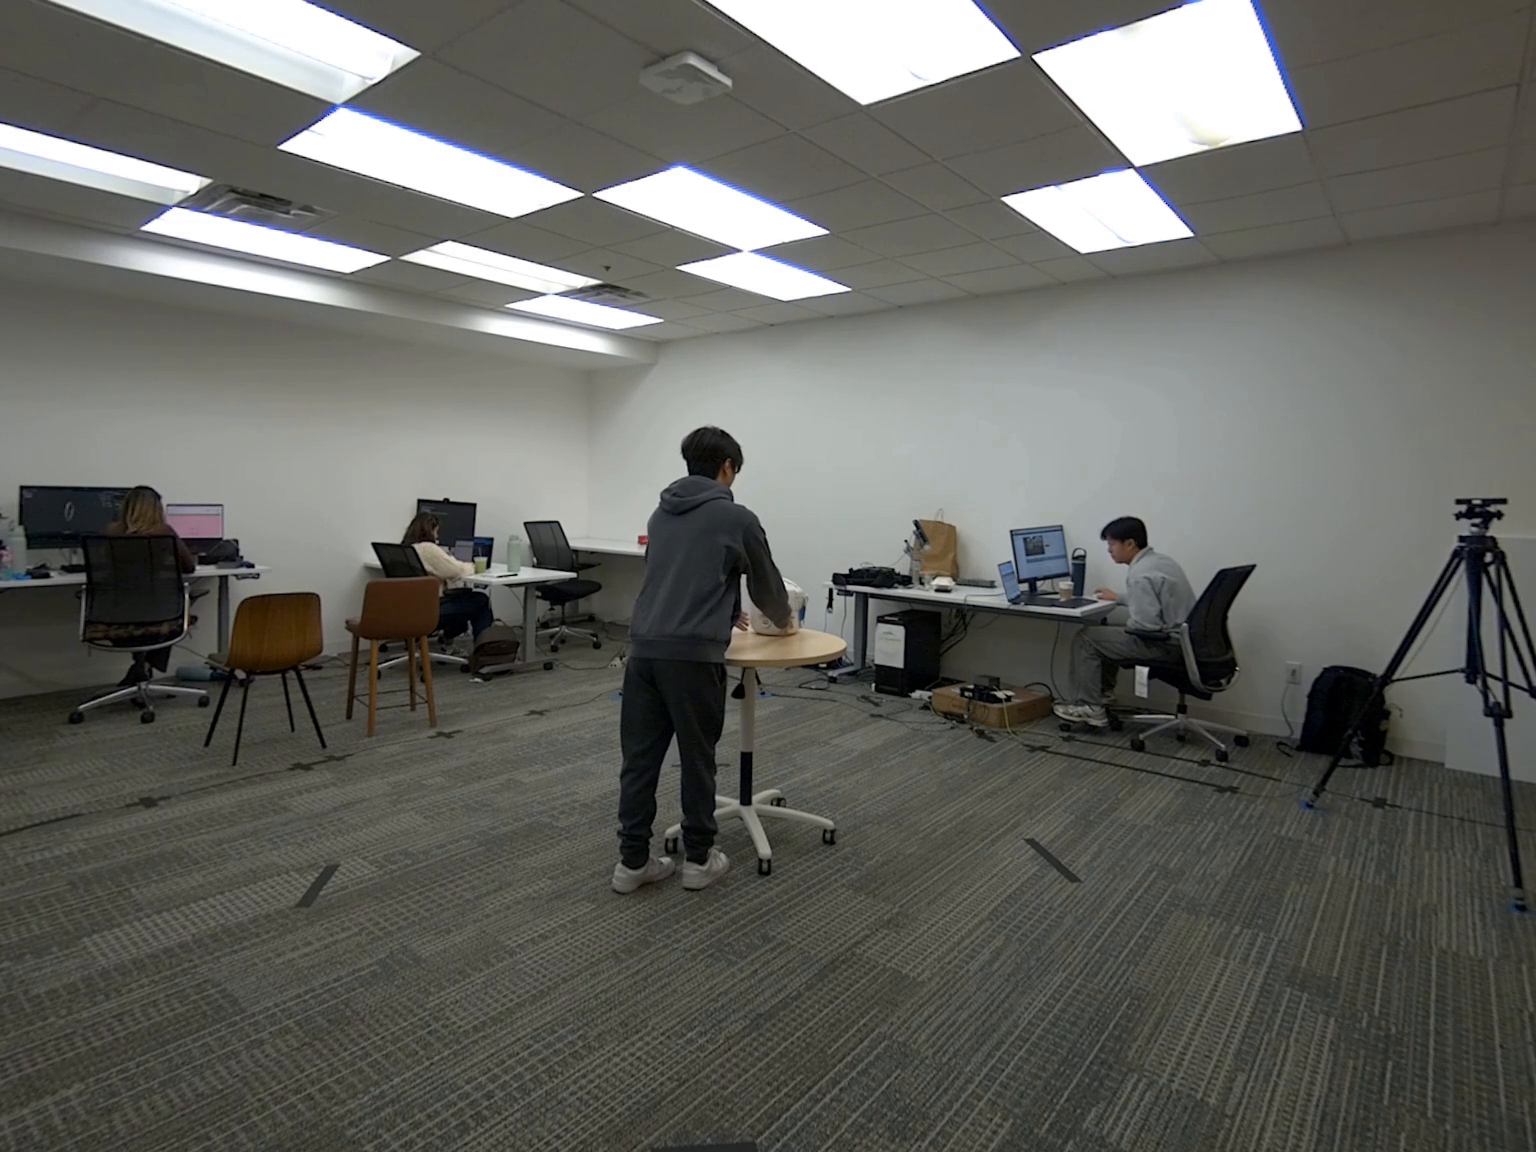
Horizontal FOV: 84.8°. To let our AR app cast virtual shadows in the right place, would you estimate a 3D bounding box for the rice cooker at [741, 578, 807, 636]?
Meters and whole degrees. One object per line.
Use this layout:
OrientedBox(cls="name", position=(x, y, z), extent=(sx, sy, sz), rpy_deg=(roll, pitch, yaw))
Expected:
OrientedBox(cls="rice cooker", position=(0.026, 0.118, 3.536), extent=(0.226, 0.232, 0.213), rpy_deg=(3, 4, 24))
